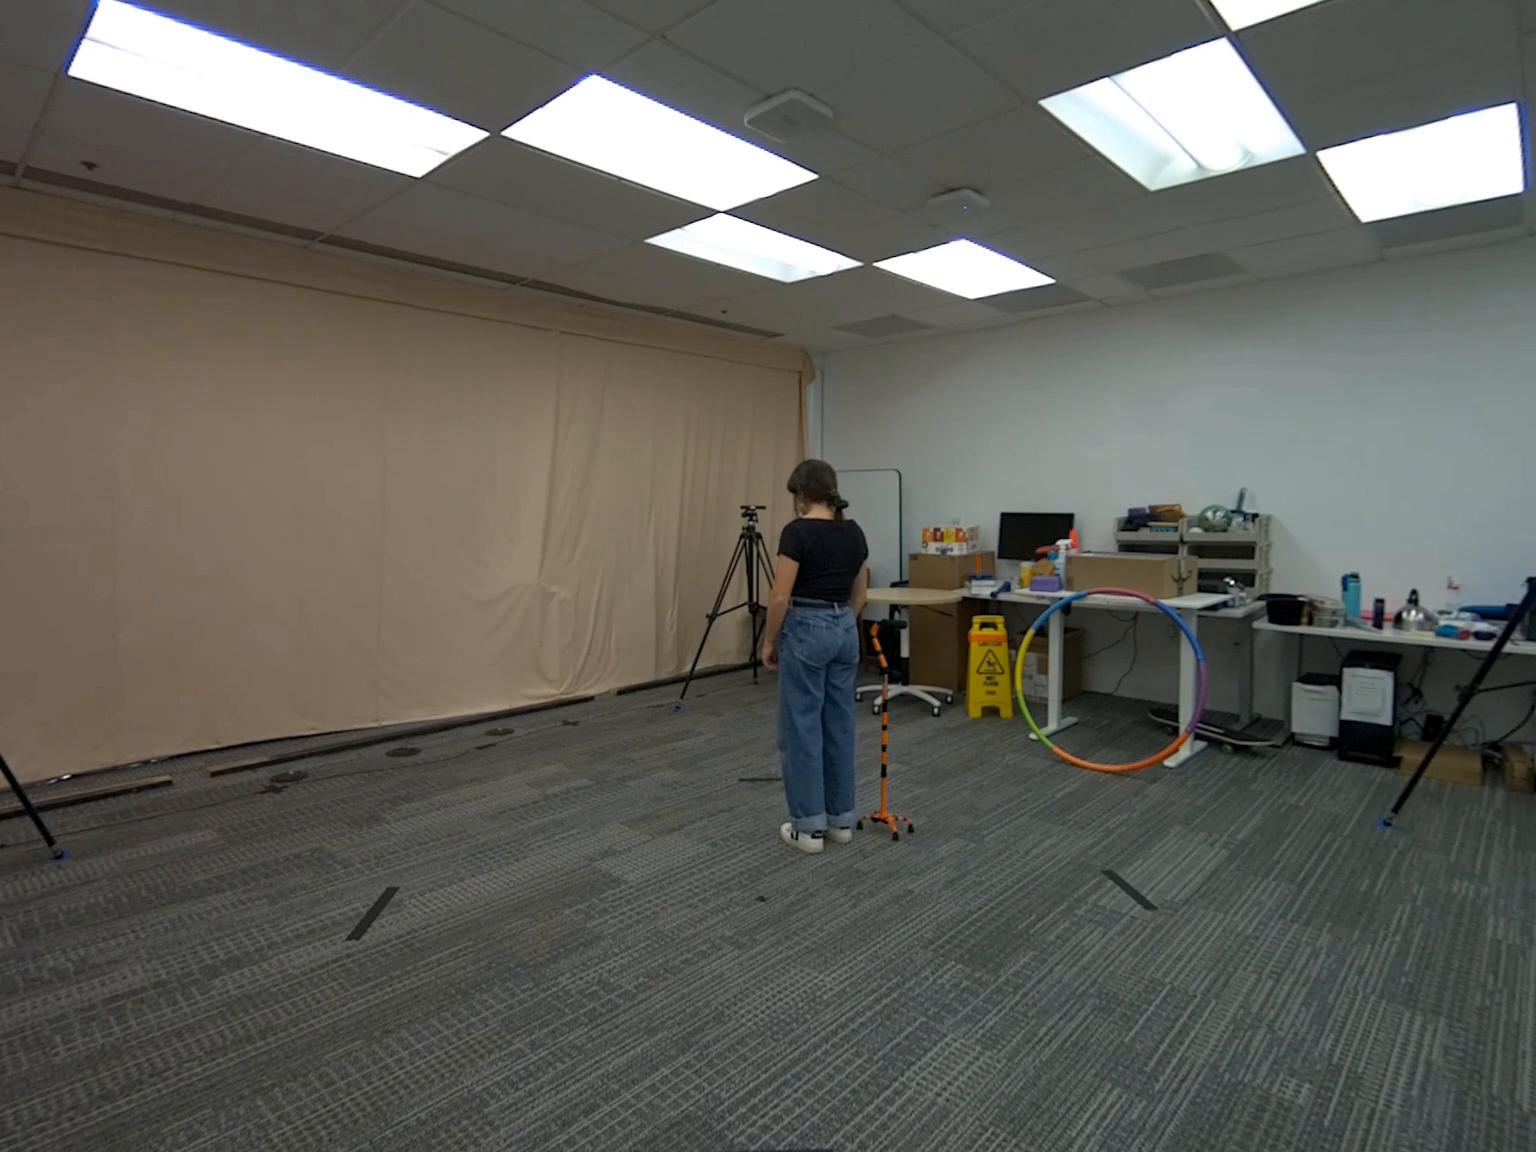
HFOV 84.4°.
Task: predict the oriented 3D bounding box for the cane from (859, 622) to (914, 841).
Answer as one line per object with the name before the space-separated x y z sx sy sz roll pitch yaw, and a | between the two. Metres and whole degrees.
cane | 0.520 0.644 3.588 0.213 0.906 0.147 3 4 41
